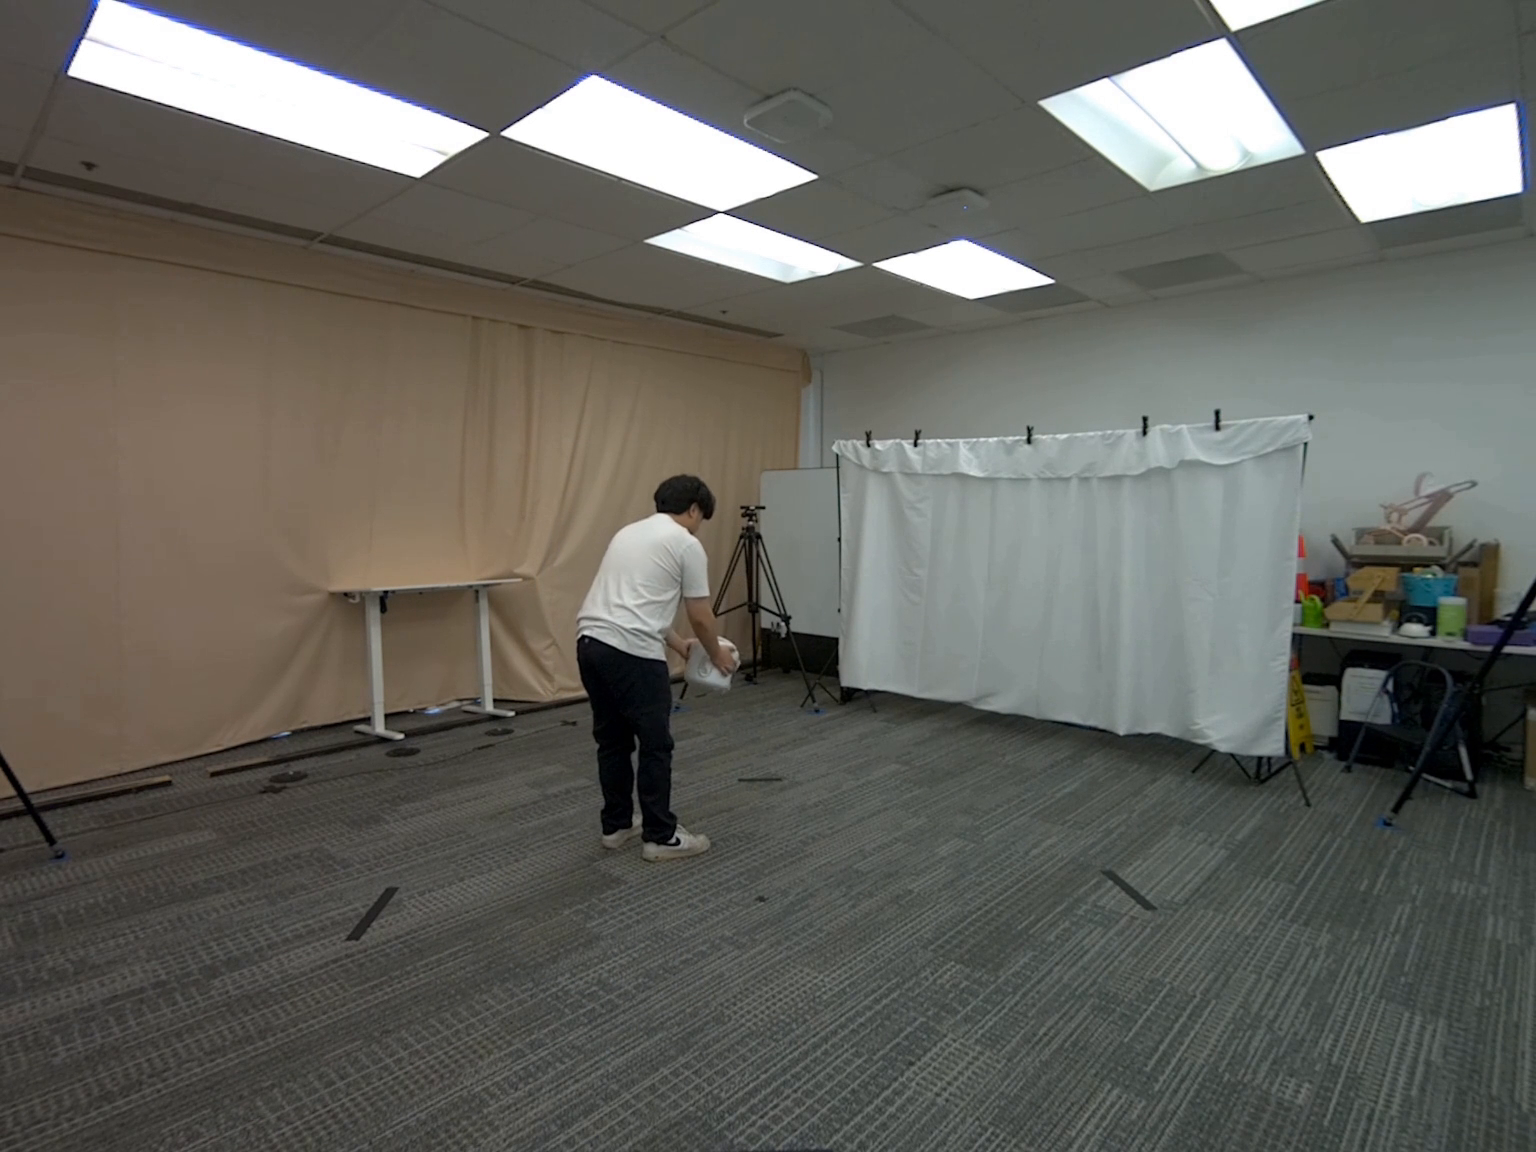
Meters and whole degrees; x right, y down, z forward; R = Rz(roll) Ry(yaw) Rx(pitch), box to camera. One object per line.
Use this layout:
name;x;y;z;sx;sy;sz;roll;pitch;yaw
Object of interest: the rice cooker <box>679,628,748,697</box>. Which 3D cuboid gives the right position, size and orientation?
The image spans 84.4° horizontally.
rice cooker;-0.239;0.378;3.713;0.223;0.234;0.213;10;-12;10
